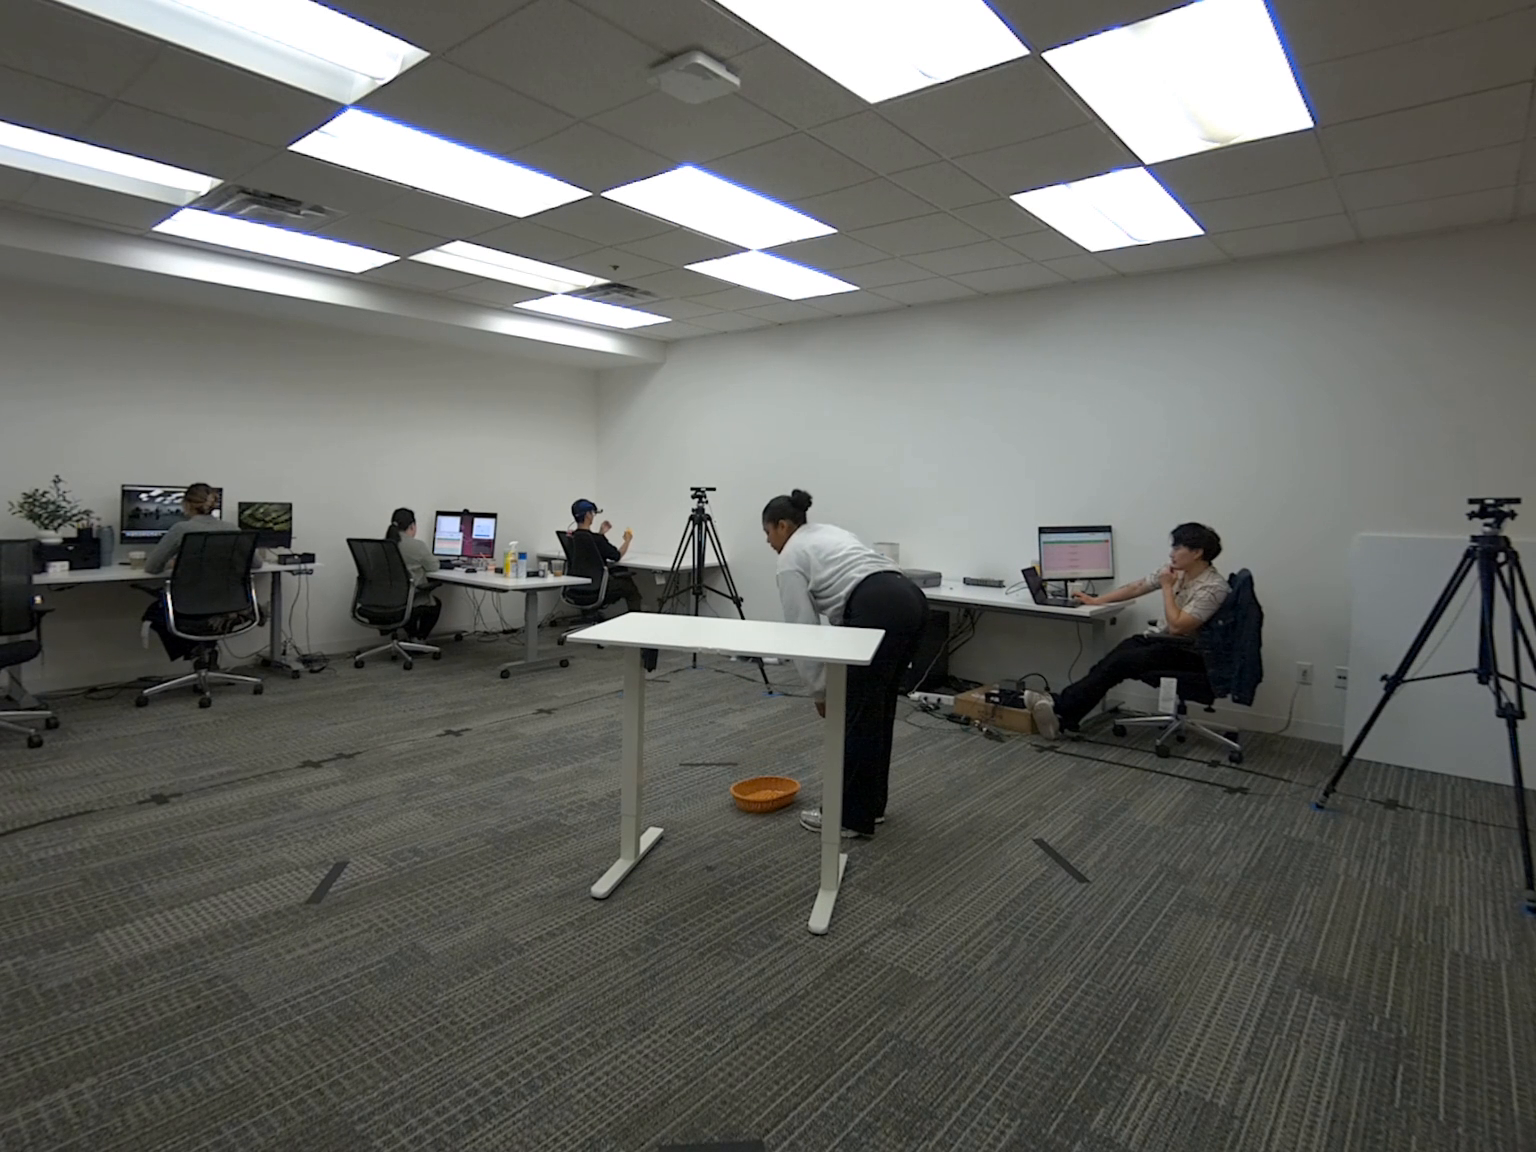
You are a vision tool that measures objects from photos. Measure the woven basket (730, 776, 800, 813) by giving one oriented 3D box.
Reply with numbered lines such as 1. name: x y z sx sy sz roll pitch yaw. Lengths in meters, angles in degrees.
1. woven basket: -0.025 0.961 3.776 0.261 0.073 0.340 7 8 43
